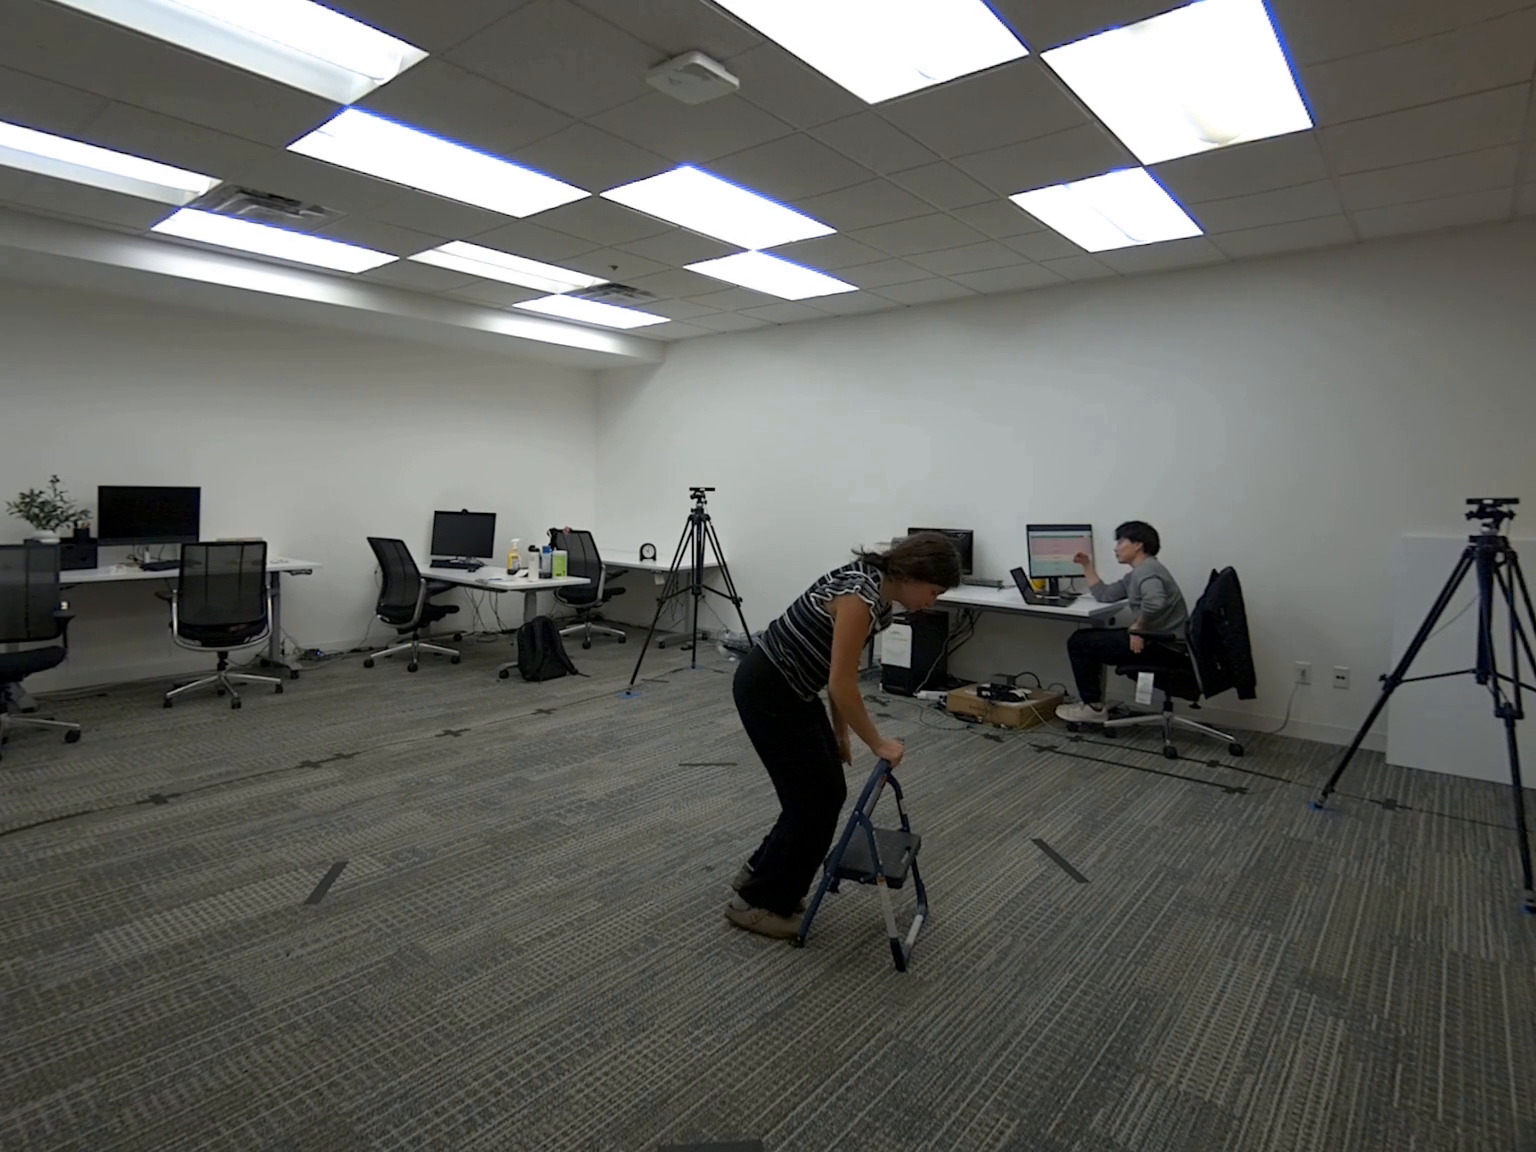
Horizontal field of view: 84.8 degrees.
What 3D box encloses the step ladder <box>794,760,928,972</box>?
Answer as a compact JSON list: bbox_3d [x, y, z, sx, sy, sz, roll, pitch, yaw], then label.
[{"bbox_3d":[0.306,0.818,2.703,0.357,0.604,0.422,3,4,21],"label":"step ladder"}]
